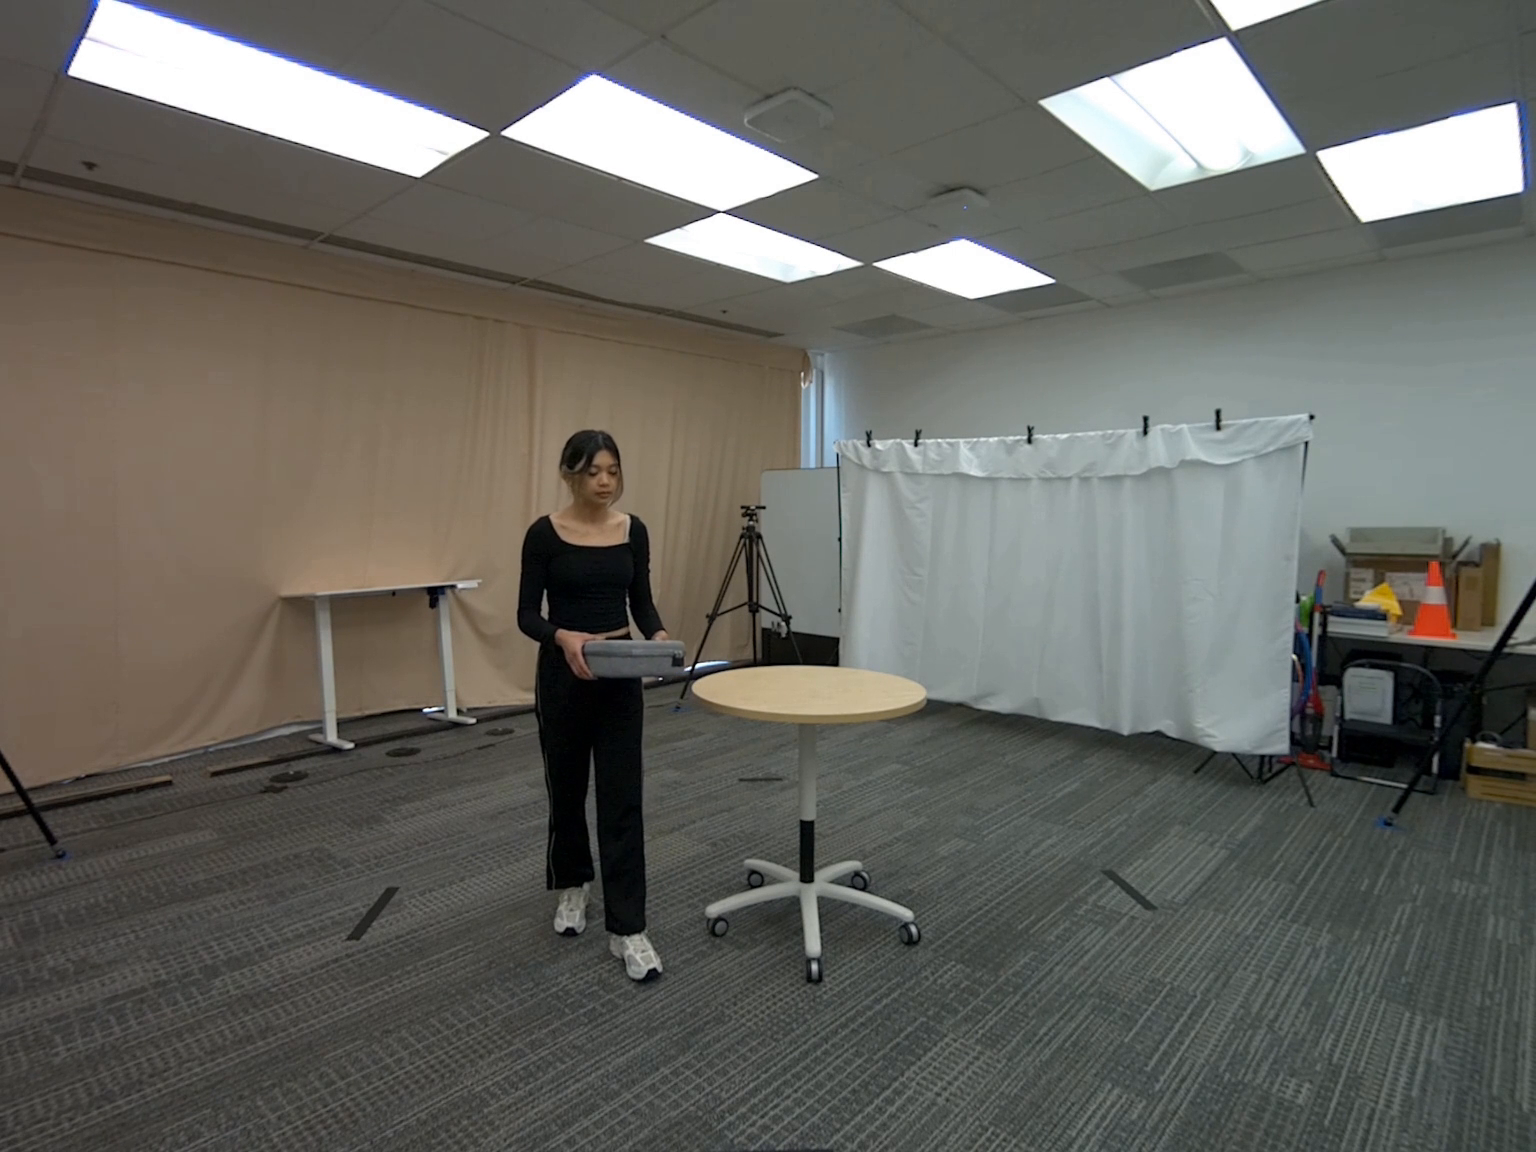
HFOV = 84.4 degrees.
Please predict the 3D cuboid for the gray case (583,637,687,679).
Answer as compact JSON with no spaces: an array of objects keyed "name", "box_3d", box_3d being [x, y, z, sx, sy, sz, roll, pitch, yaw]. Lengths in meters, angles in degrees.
[{"name":"gray case","box_3d":[-0.397,0.234,2.427,0.249,0.104,0.268,1,-4,-36]}]
